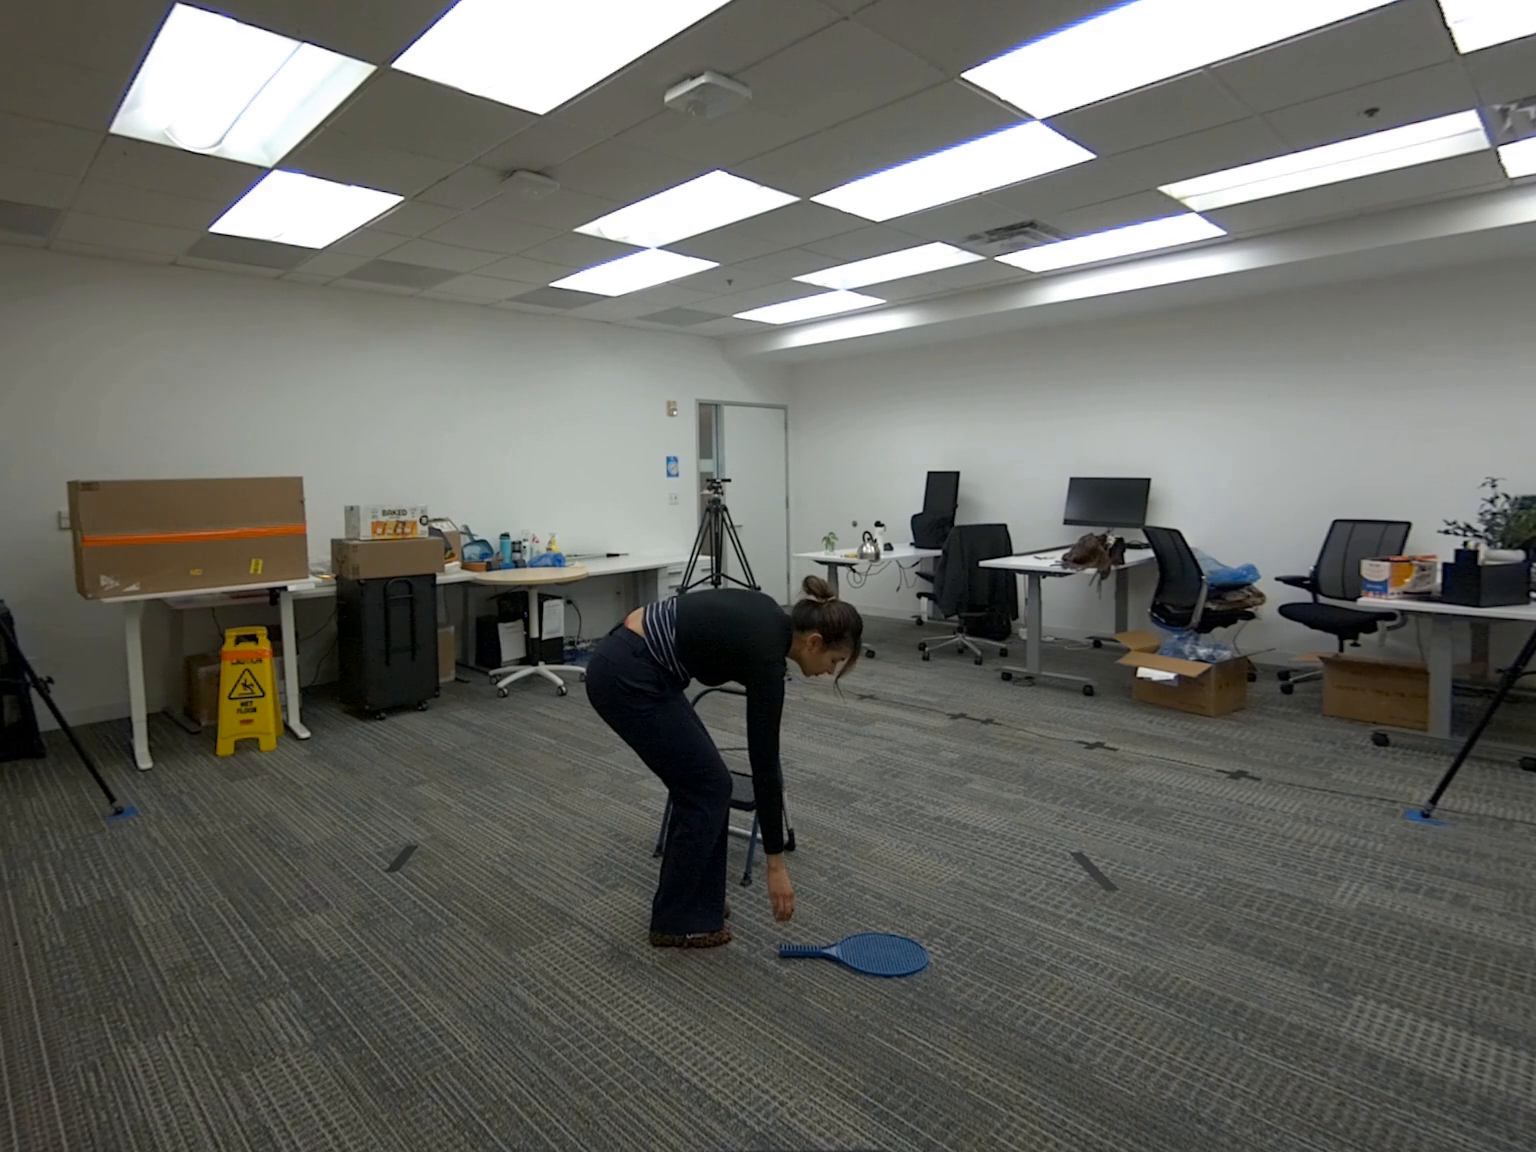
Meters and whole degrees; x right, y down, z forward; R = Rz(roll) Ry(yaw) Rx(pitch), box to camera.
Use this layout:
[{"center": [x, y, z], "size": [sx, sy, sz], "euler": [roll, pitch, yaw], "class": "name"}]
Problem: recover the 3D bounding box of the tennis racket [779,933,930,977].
[{"center": [0.251, 1.089, 2.497], "size": [0.435, 0.031, 0.213], "euler": [1, 6, 5], "class": "tennis racket"}]
